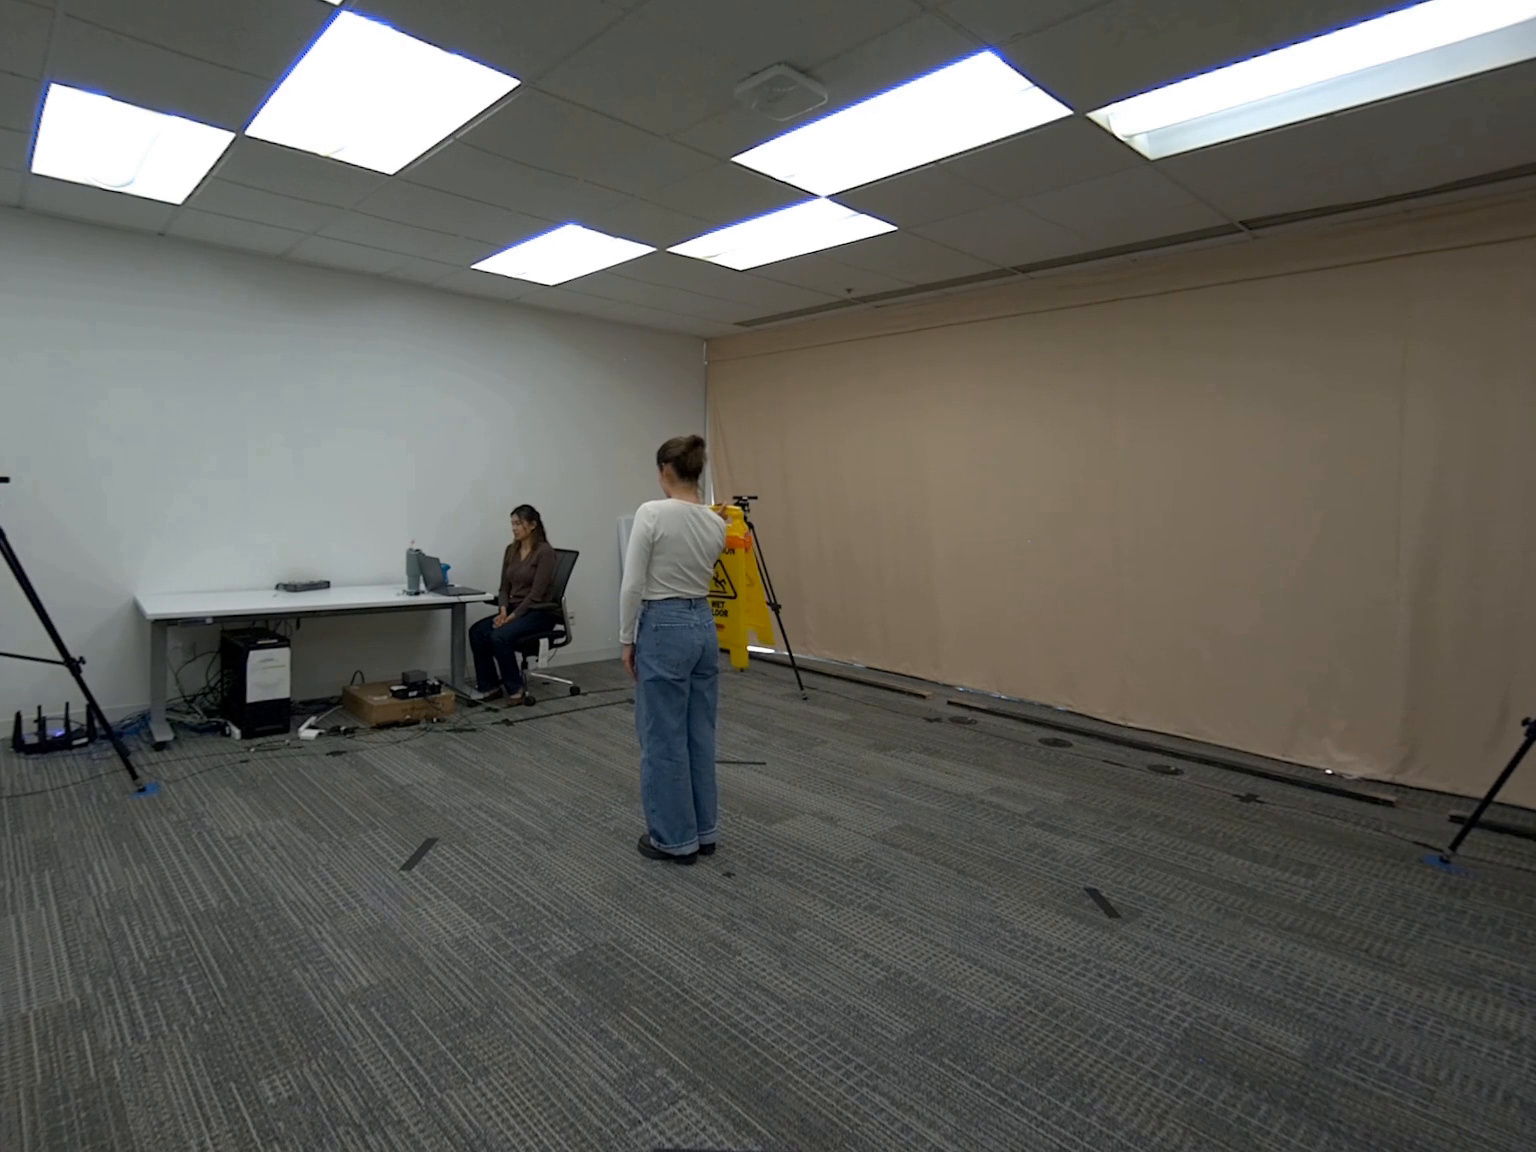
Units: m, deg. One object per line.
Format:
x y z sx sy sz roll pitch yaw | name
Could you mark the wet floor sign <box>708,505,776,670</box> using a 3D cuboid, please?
-0.187 0.025 3.549 0.288 0.639 0.287 1 15 27 | wet floor sign
